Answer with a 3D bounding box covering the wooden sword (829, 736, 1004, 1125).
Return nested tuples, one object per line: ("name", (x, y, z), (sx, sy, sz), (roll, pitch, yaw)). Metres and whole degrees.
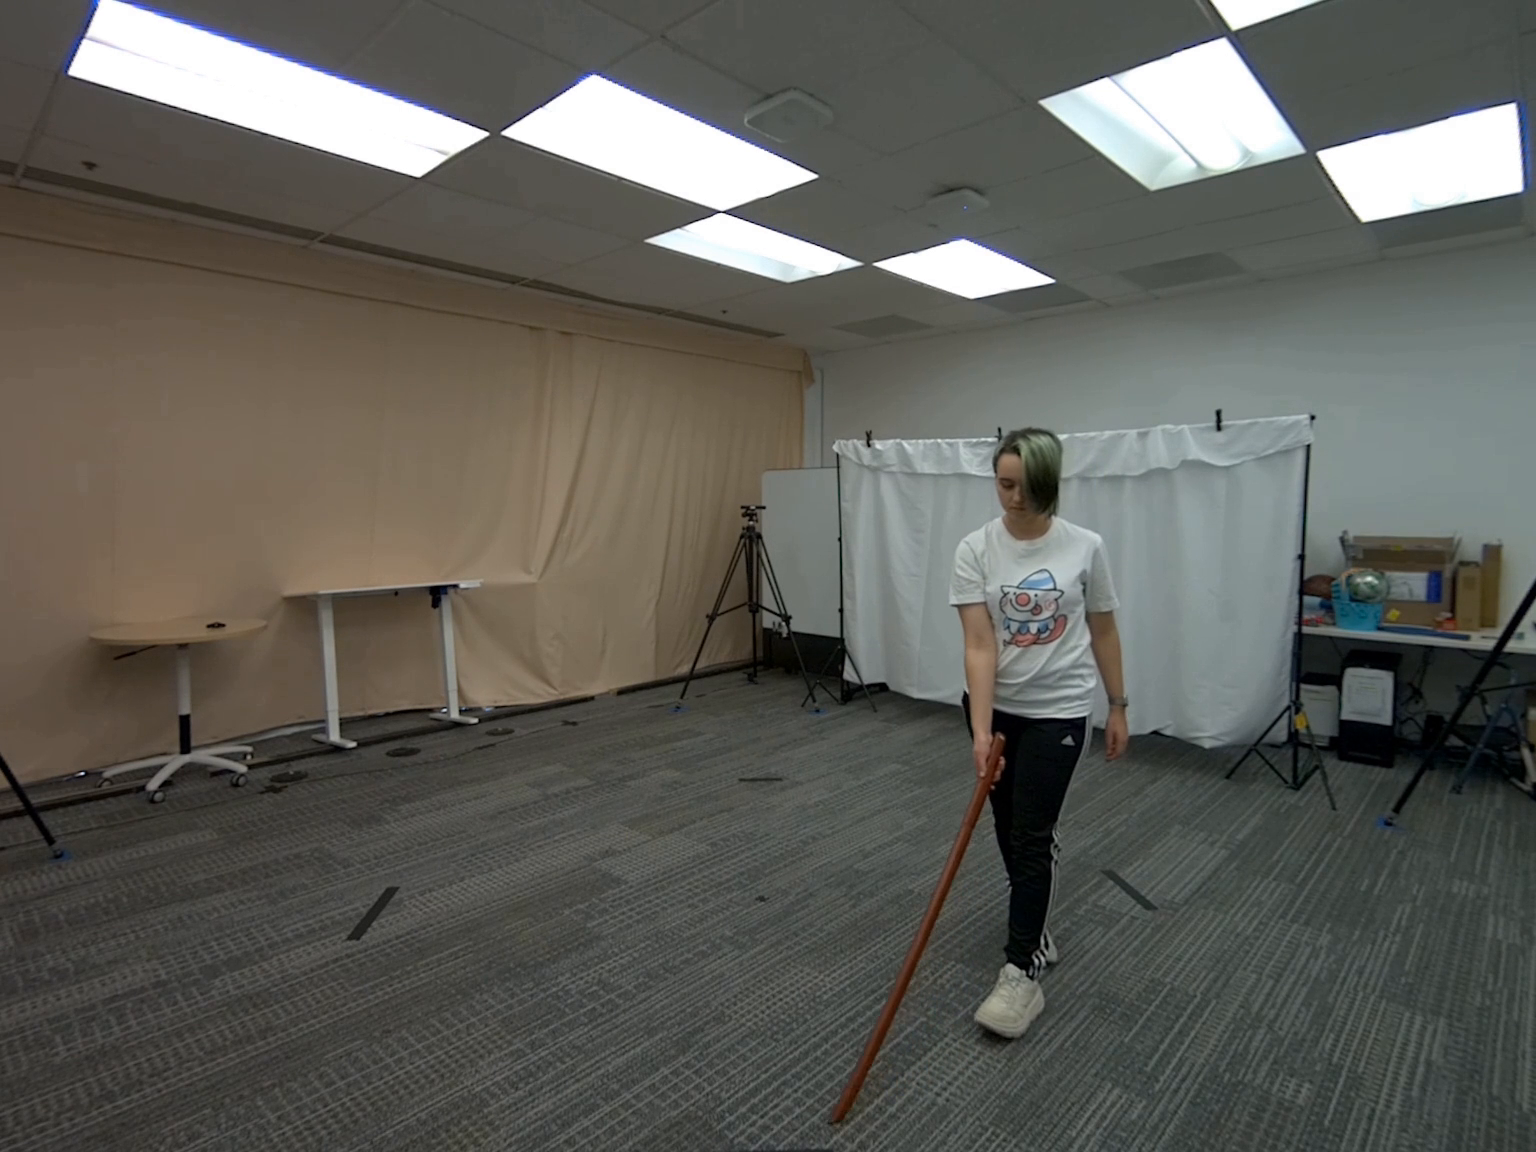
("wooden sword", (0.414, 0.858, 2.097), (0.053, 1.022, 0.023), (7, -36, 44))
